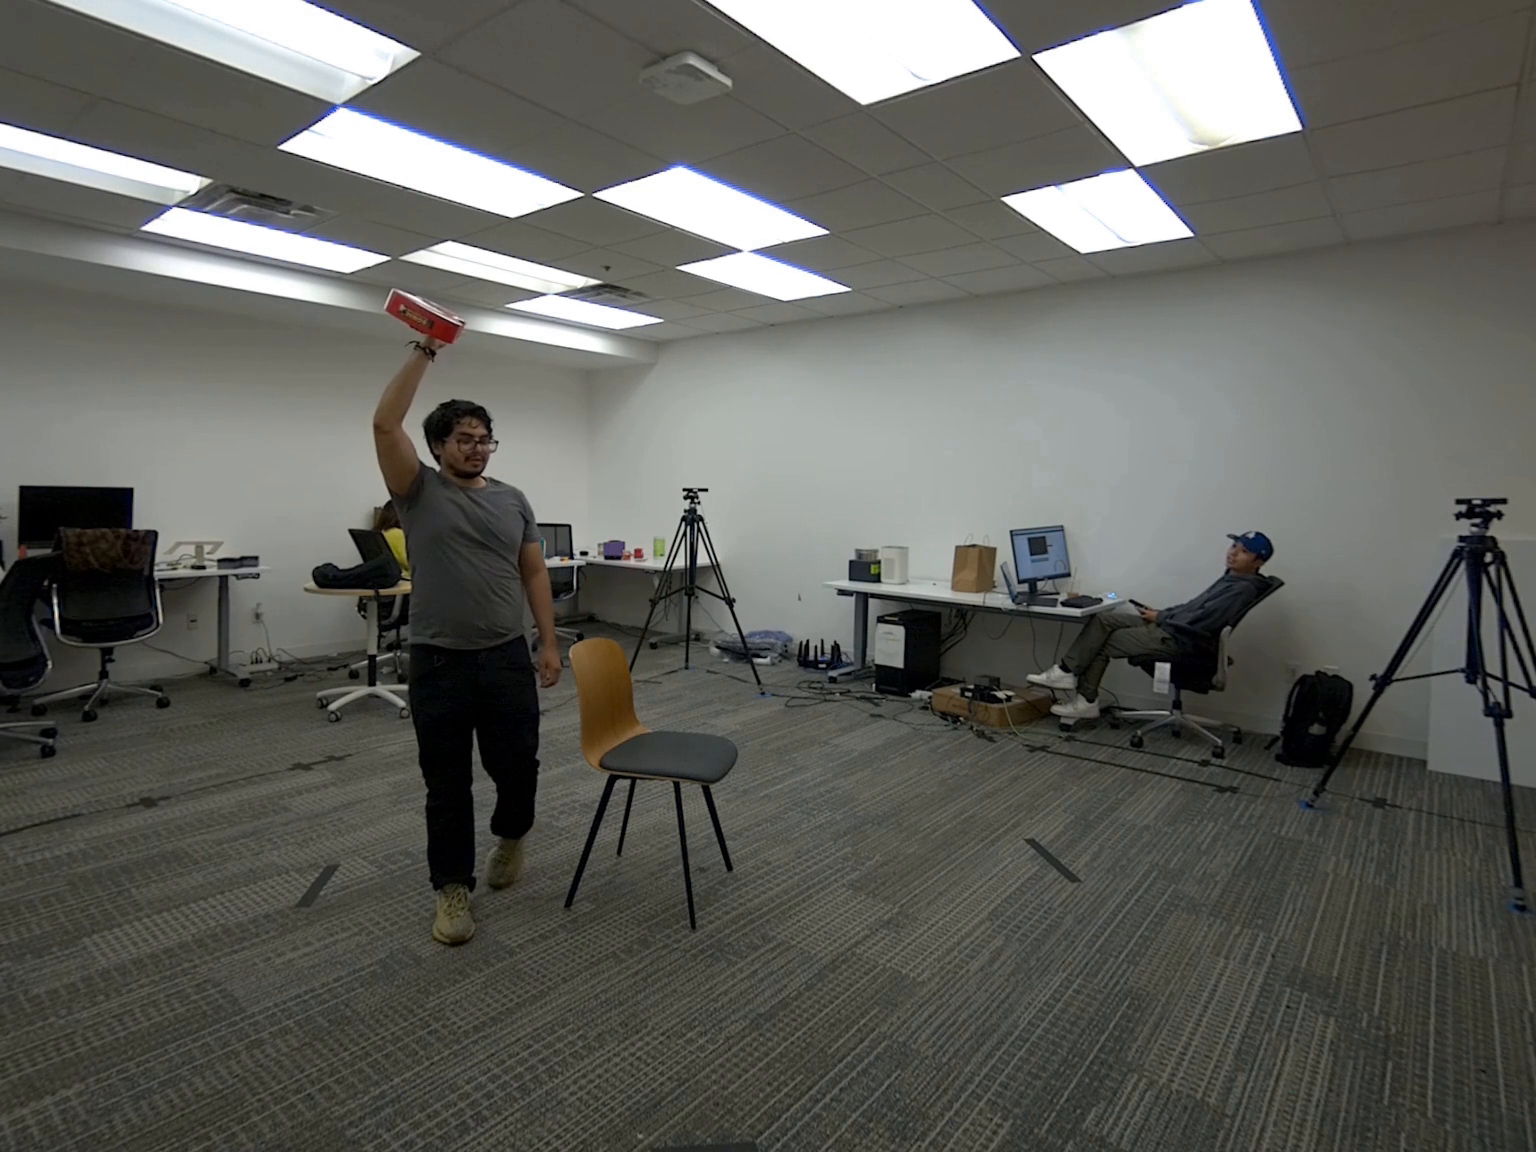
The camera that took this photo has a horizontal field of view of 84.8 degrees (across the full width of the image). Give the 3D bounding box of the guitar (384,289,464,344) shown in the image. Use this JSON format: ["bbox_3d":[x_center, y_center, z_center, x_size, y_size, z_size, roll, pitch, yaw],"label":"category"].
[{"bbox_3d":[-0.971,-0.746,2.428,0.188,0.070,0.513,24,11,-22],"label":"guitar"}]
